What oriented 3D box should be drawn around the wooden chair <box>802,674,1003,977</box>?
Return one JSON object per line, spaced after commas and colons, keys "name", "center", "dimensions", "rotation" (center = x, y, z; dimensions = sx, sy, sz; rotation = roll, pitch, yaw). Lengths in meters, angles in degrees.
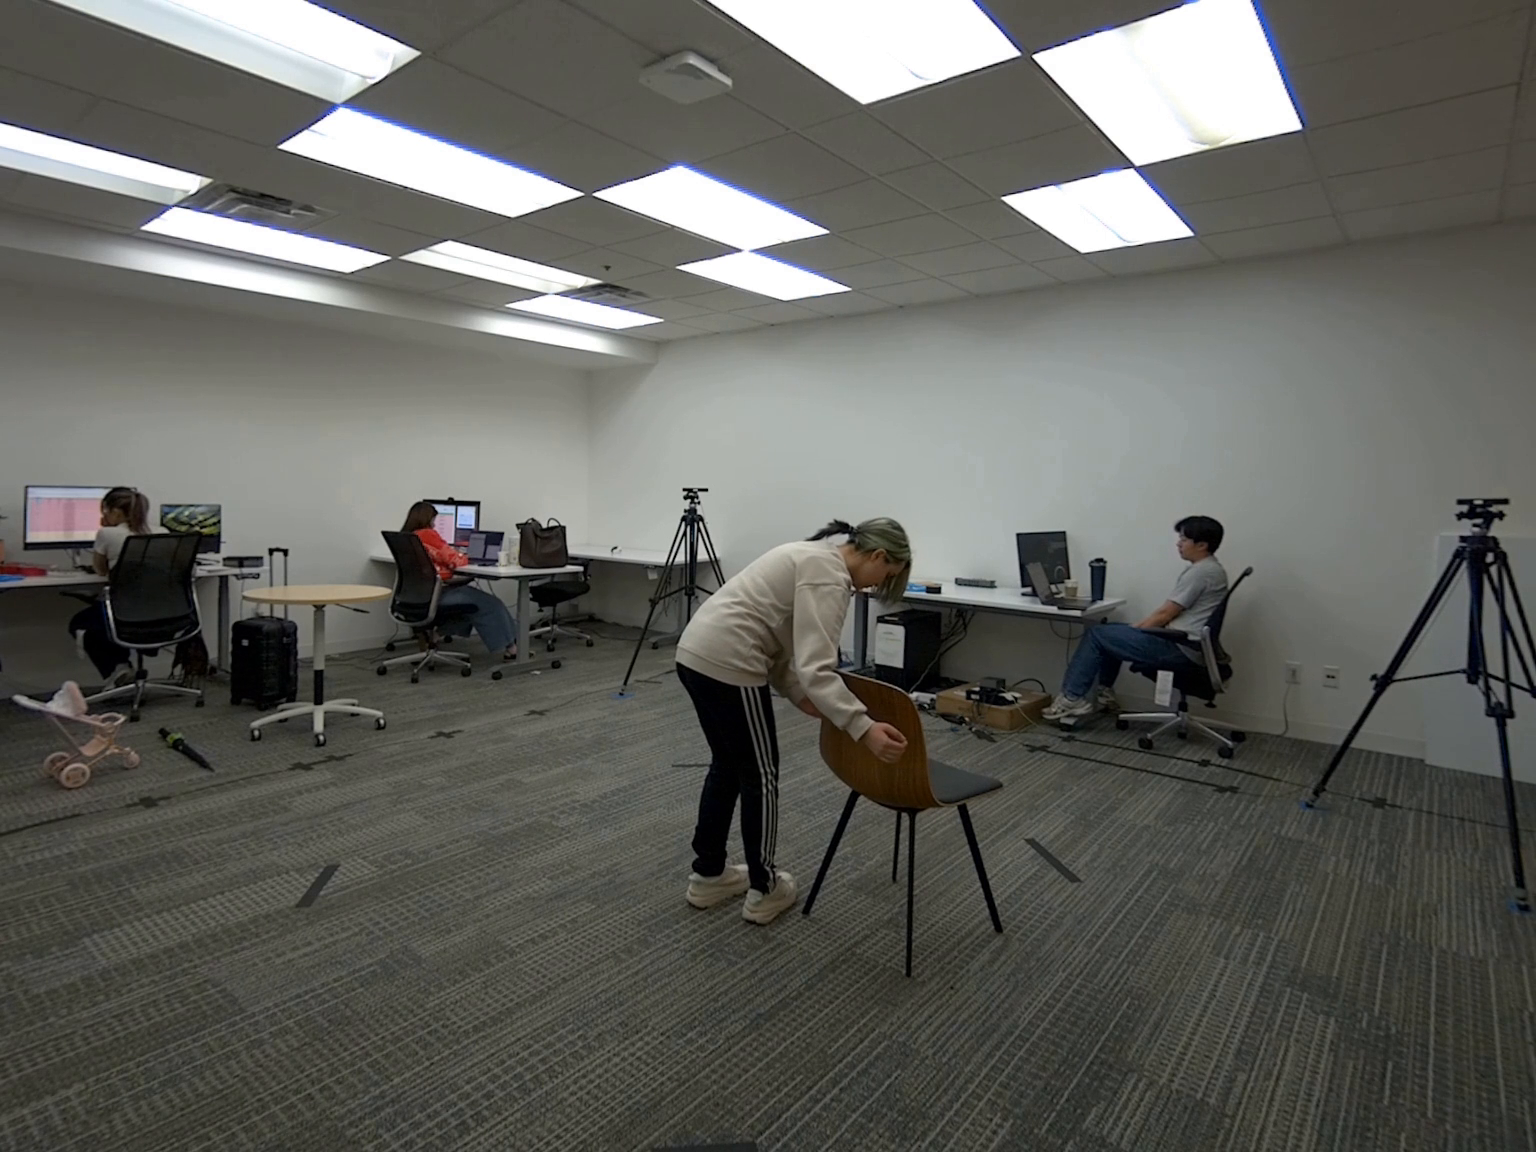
{"name": "wooden chair", "center": [0.441, 0.695, 2.730], "dimensions": [0.508, 0.873, 0.494], "rotation": [-6, 7, -40]}
